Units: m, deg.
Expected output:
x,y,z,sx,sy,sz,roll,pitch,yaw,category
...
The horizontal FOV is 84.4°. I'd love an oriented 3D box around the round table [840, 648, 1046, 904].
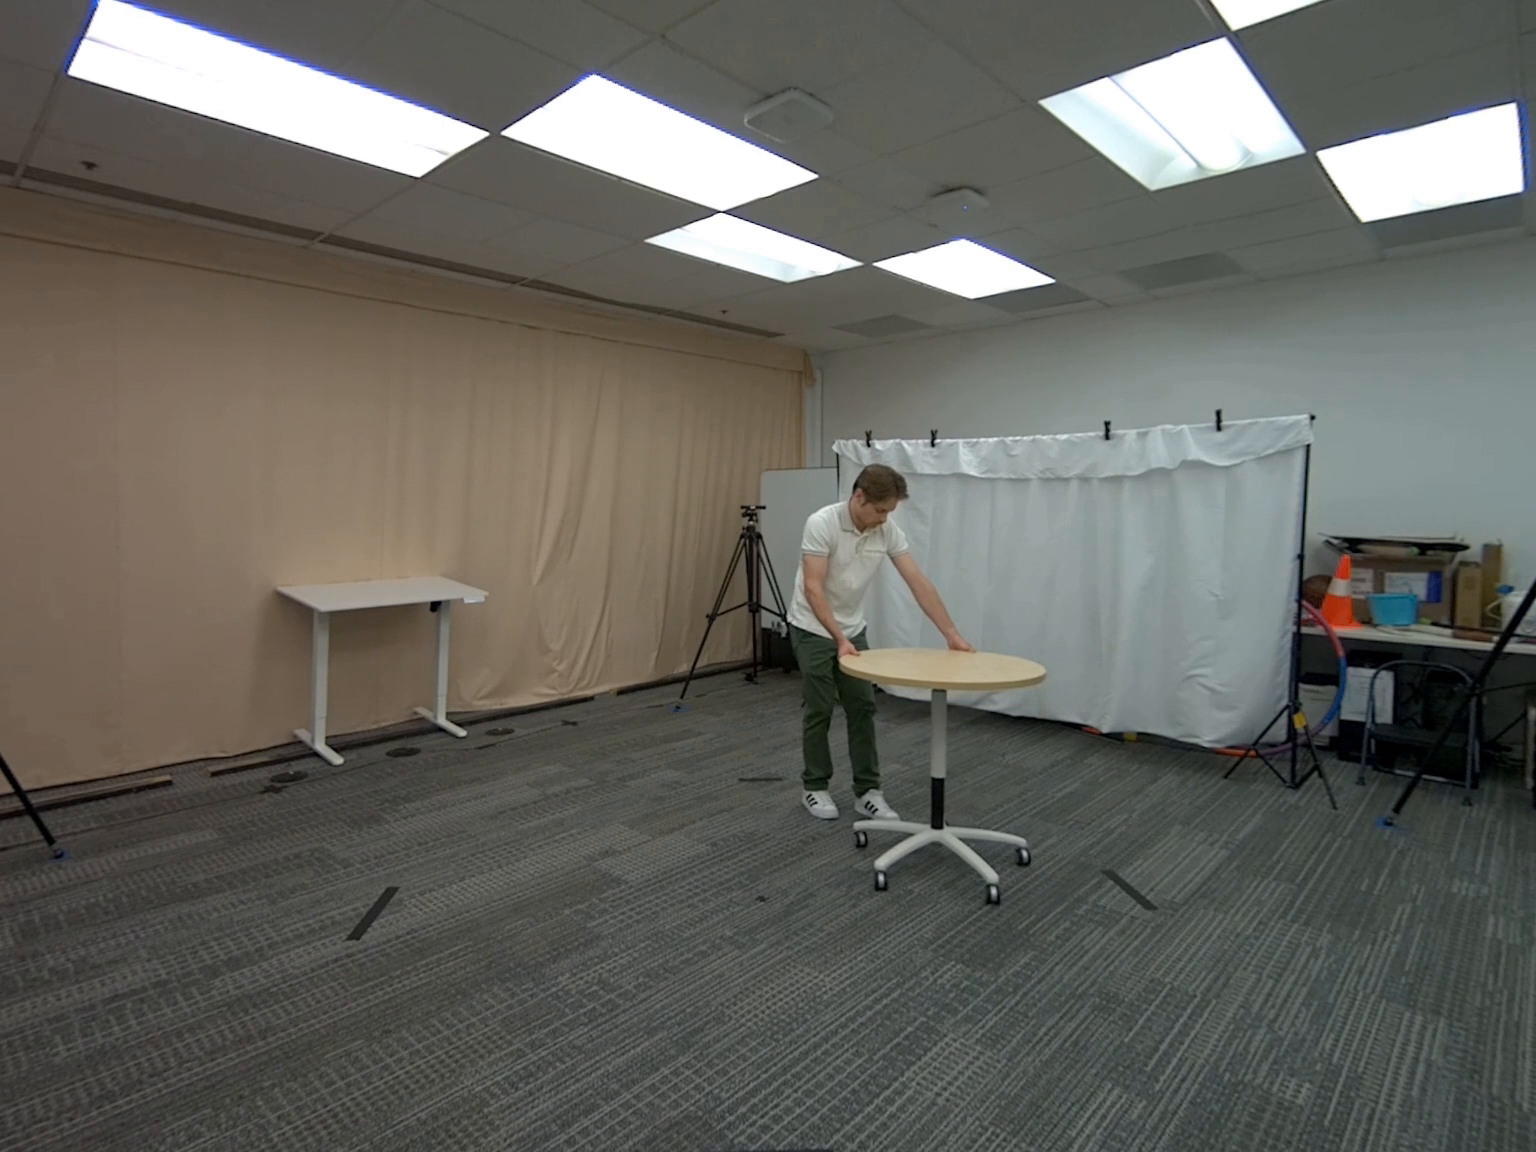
x,y,z,sx,sy,sz,roll,pitch,yaw,category
0.653,0.724,3.264,0.784,0.785,0.787,1,3,-2,round table
